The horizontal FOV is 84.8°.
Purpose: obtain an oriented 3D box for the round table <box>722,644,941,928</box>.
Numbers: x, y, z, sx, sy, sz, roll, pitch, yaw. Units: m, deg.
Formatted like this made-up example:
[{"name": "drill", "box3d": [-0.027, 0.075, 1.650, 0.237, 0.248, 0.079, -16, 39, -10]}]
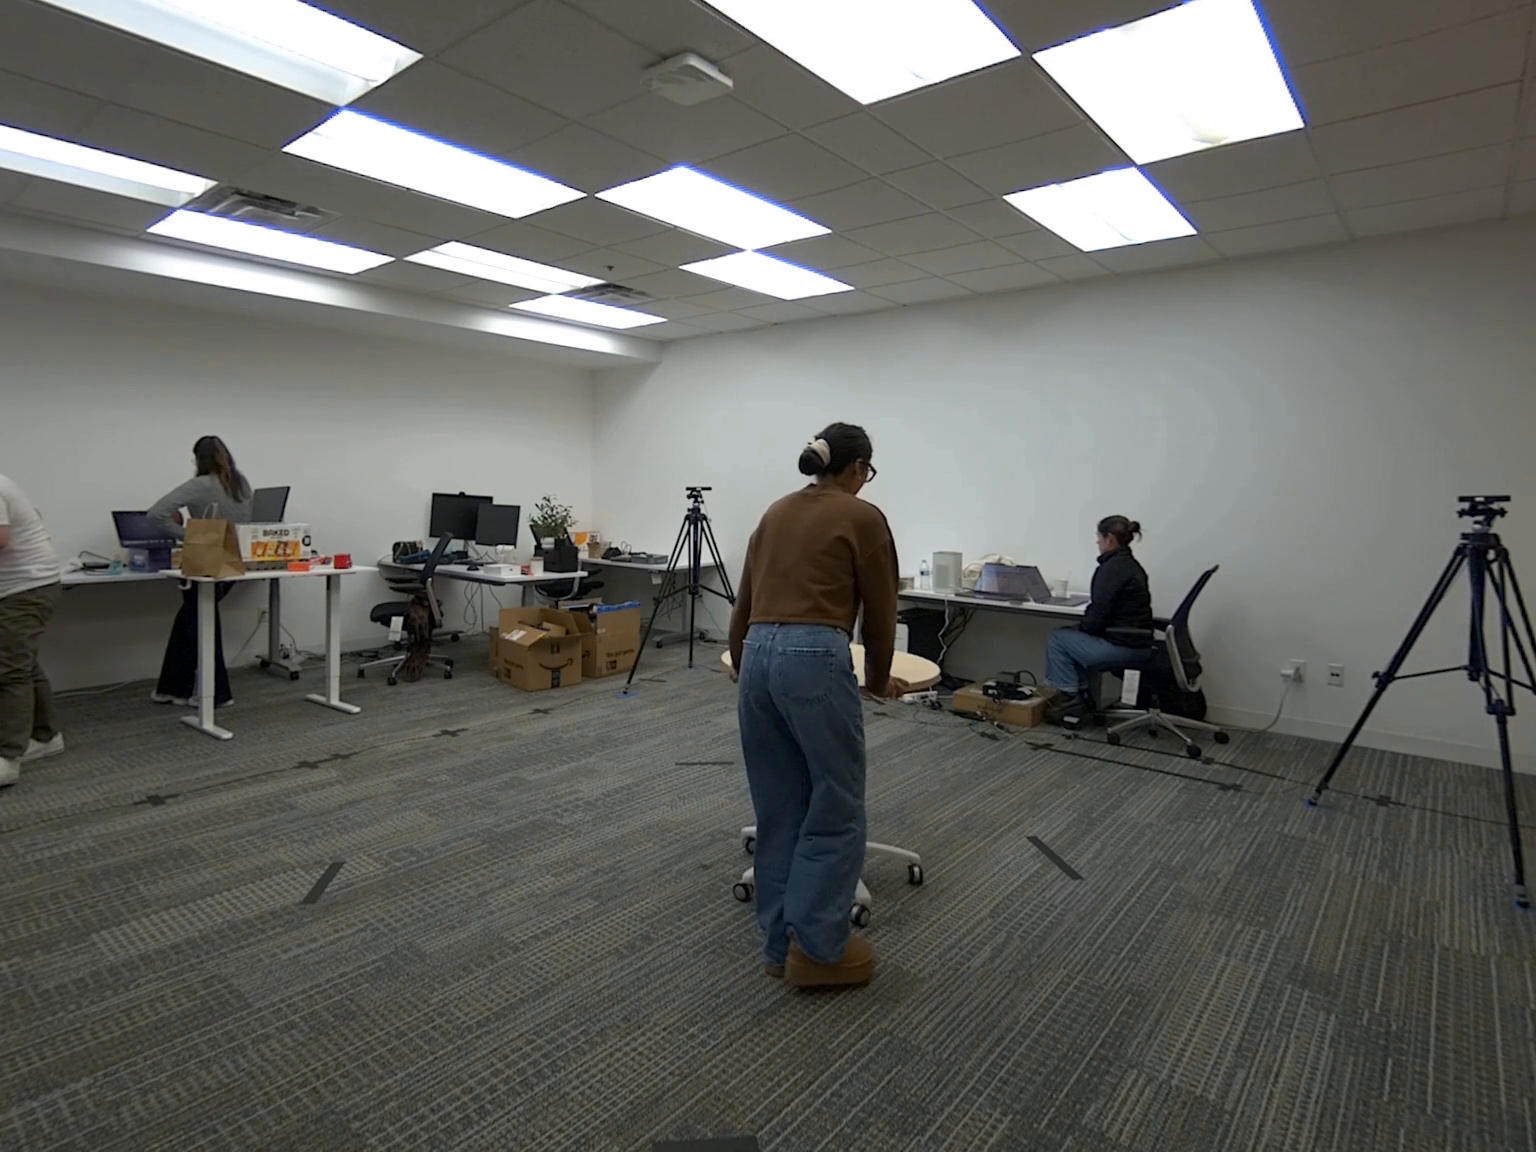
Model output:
[{"name": "round table", "box3d": [0.203, 0.682, 3.048, 0.784, 0.784, 0.789, 2, 5, -2]}]
